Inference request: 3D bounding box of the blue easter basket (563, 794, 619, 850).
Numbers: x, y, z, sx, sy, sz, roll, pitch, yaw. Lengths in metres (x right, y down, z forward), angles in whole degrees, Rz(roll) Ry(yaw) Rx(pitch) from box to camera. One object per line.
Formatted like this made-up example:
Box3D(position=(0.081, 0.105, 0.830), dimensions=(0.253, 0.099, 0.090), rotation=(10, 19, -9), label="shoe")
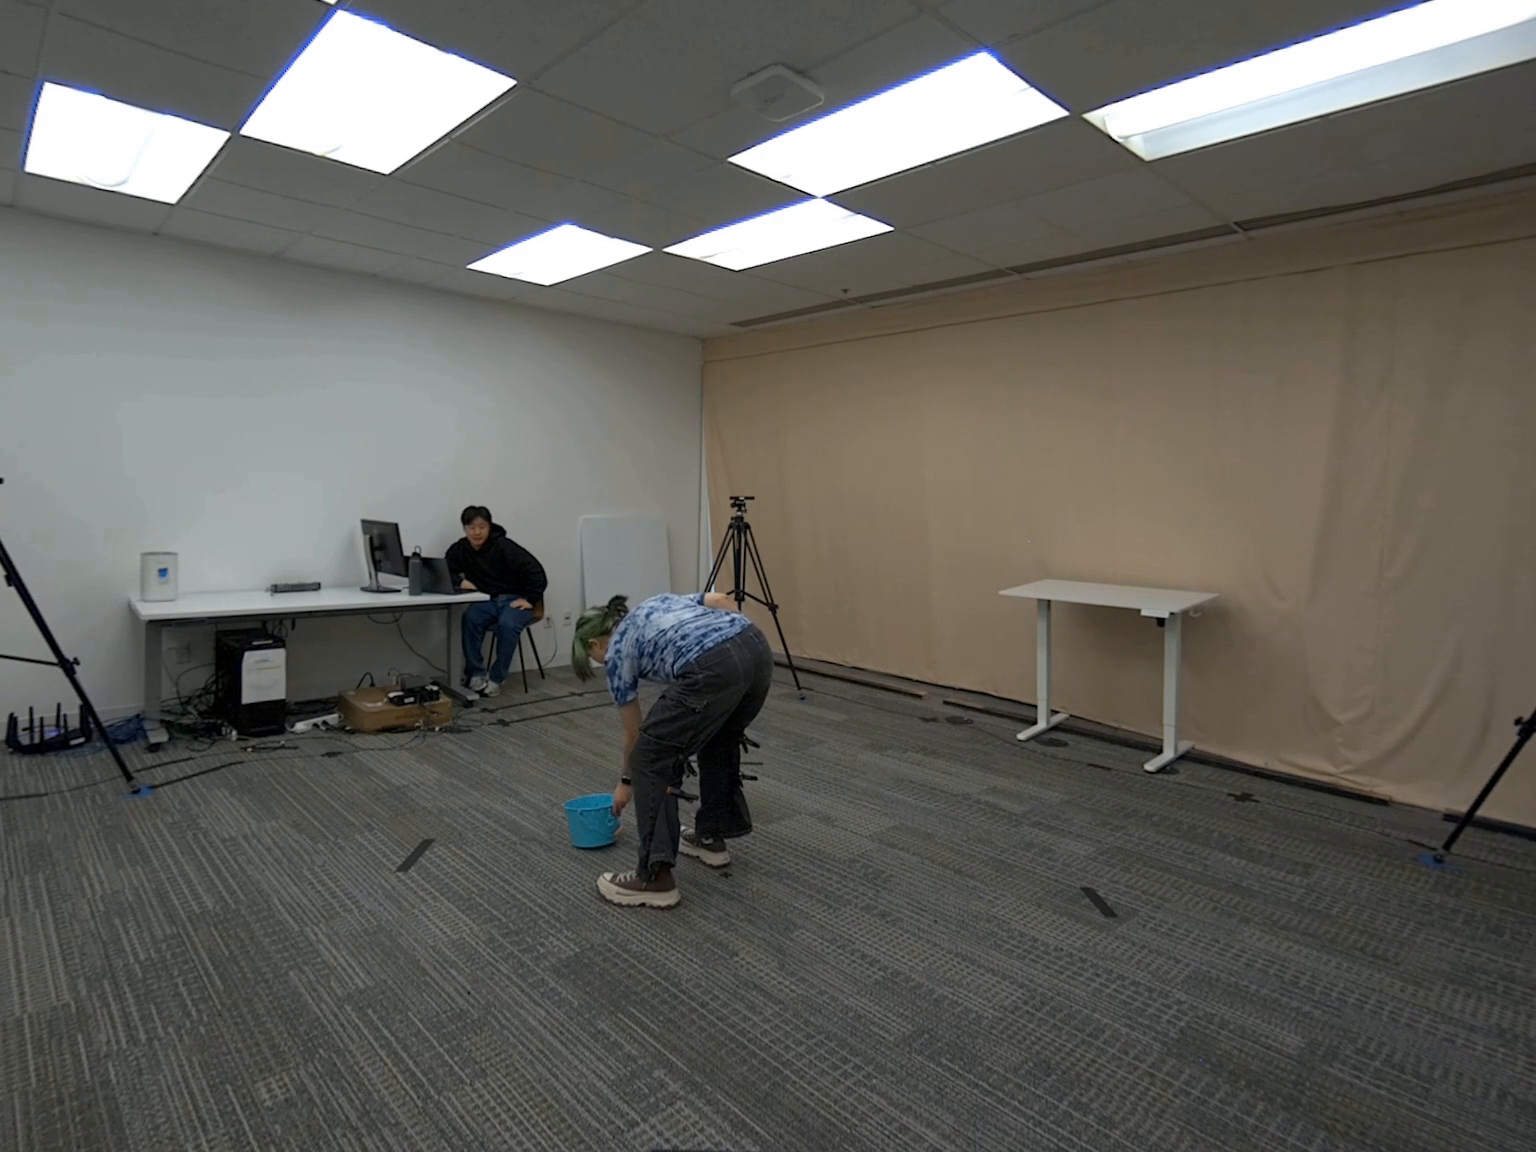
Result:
Box3D(position=(-0.706, 0.979, 3.367), dimensions=(0.243, 0.156, 0.243), rotation=(-4, 0, -1), label="blue easter basket")
